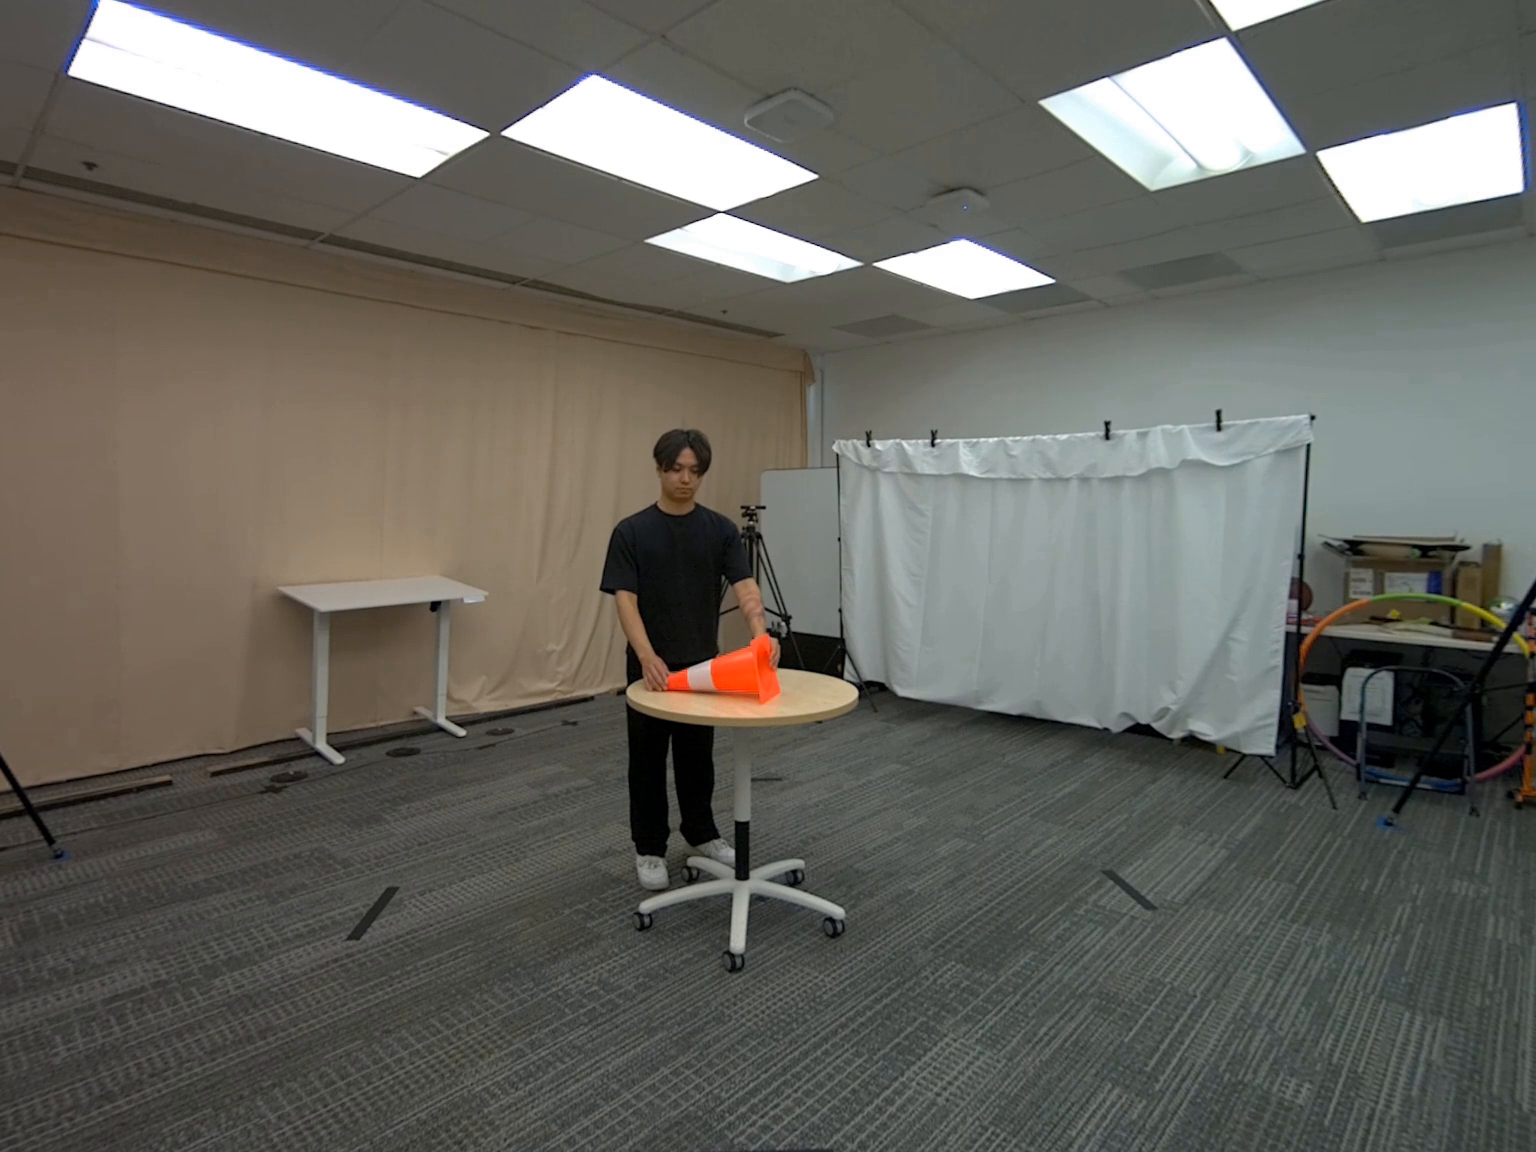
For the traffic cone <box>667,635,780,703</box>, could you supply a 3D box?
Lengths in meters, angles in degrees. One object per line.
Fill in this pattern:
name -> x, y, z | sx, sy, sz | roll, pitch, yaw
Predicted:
traffic cone -> -0.187, 0.323, 2.725 | 0.390, 0.203, 0.202 | -10, 1, 17
